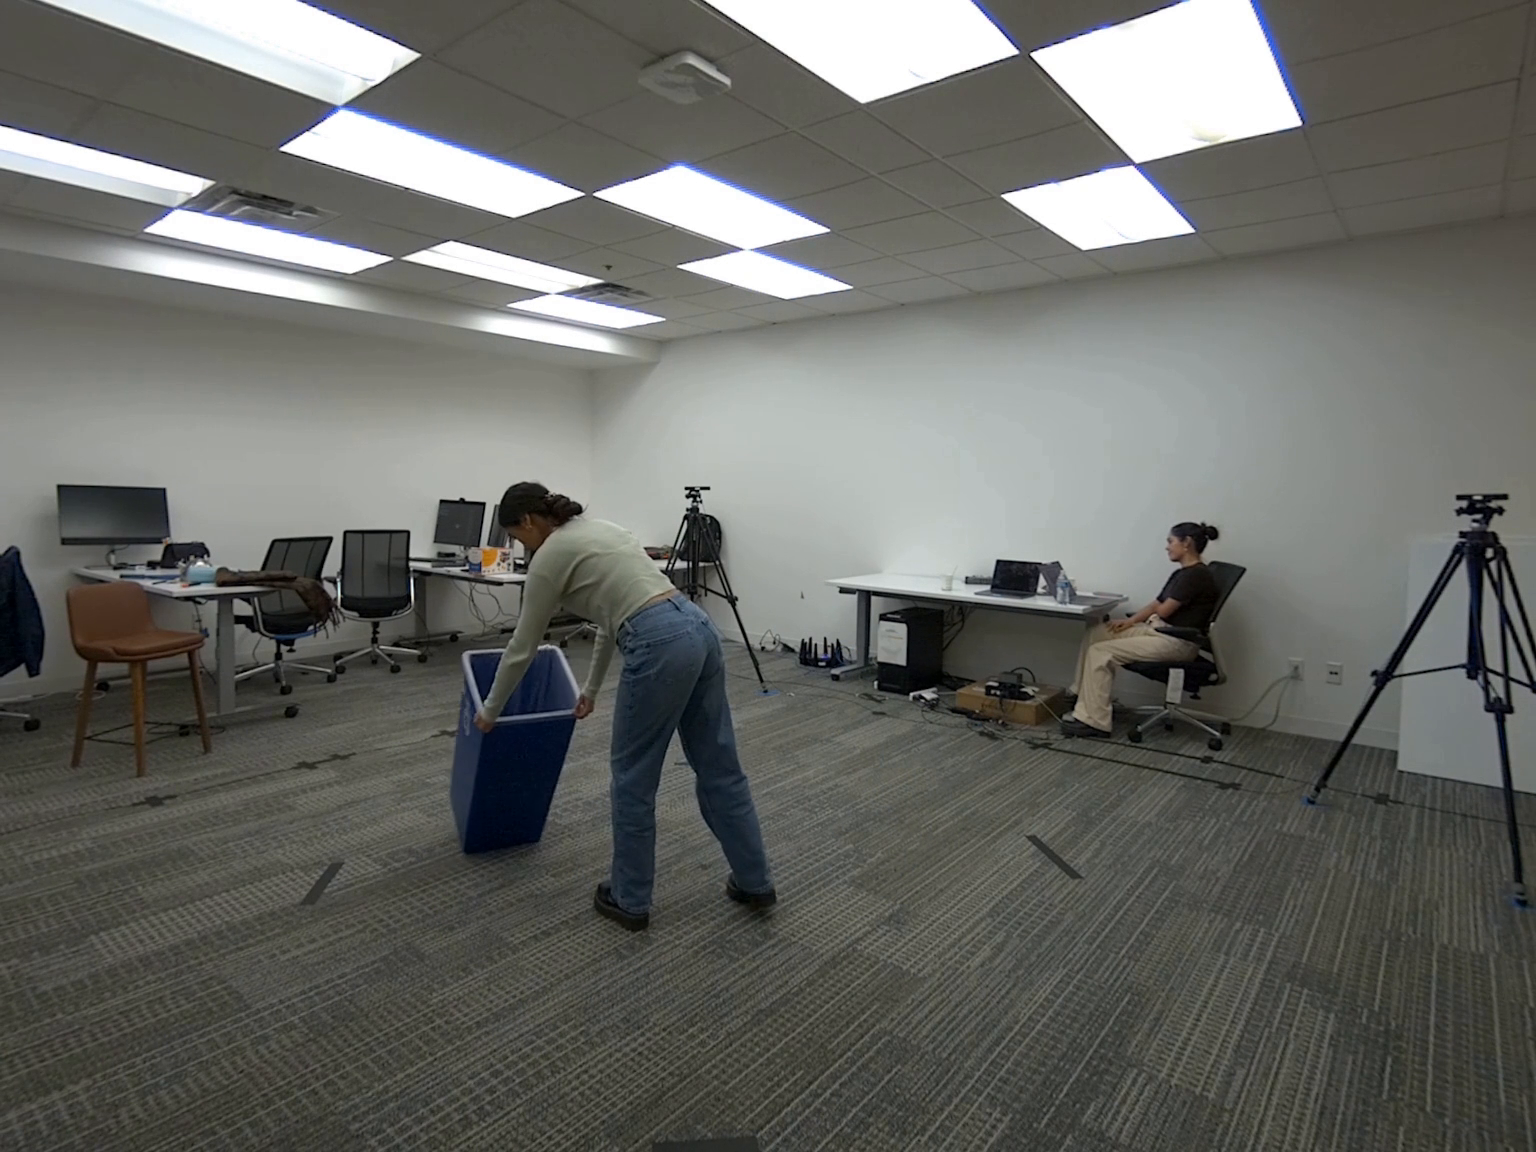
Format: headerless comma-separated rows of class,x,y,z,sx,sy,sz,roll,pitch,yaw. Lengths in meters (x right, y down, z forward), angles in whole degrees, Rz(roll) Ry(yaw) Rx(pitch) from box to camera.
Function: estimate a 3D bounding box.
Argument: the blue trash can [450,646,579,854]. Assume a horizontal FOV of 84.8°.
blue trash can,-0.980,0.665,3.184,0.368,0.703,0.390,-1,34,-32
